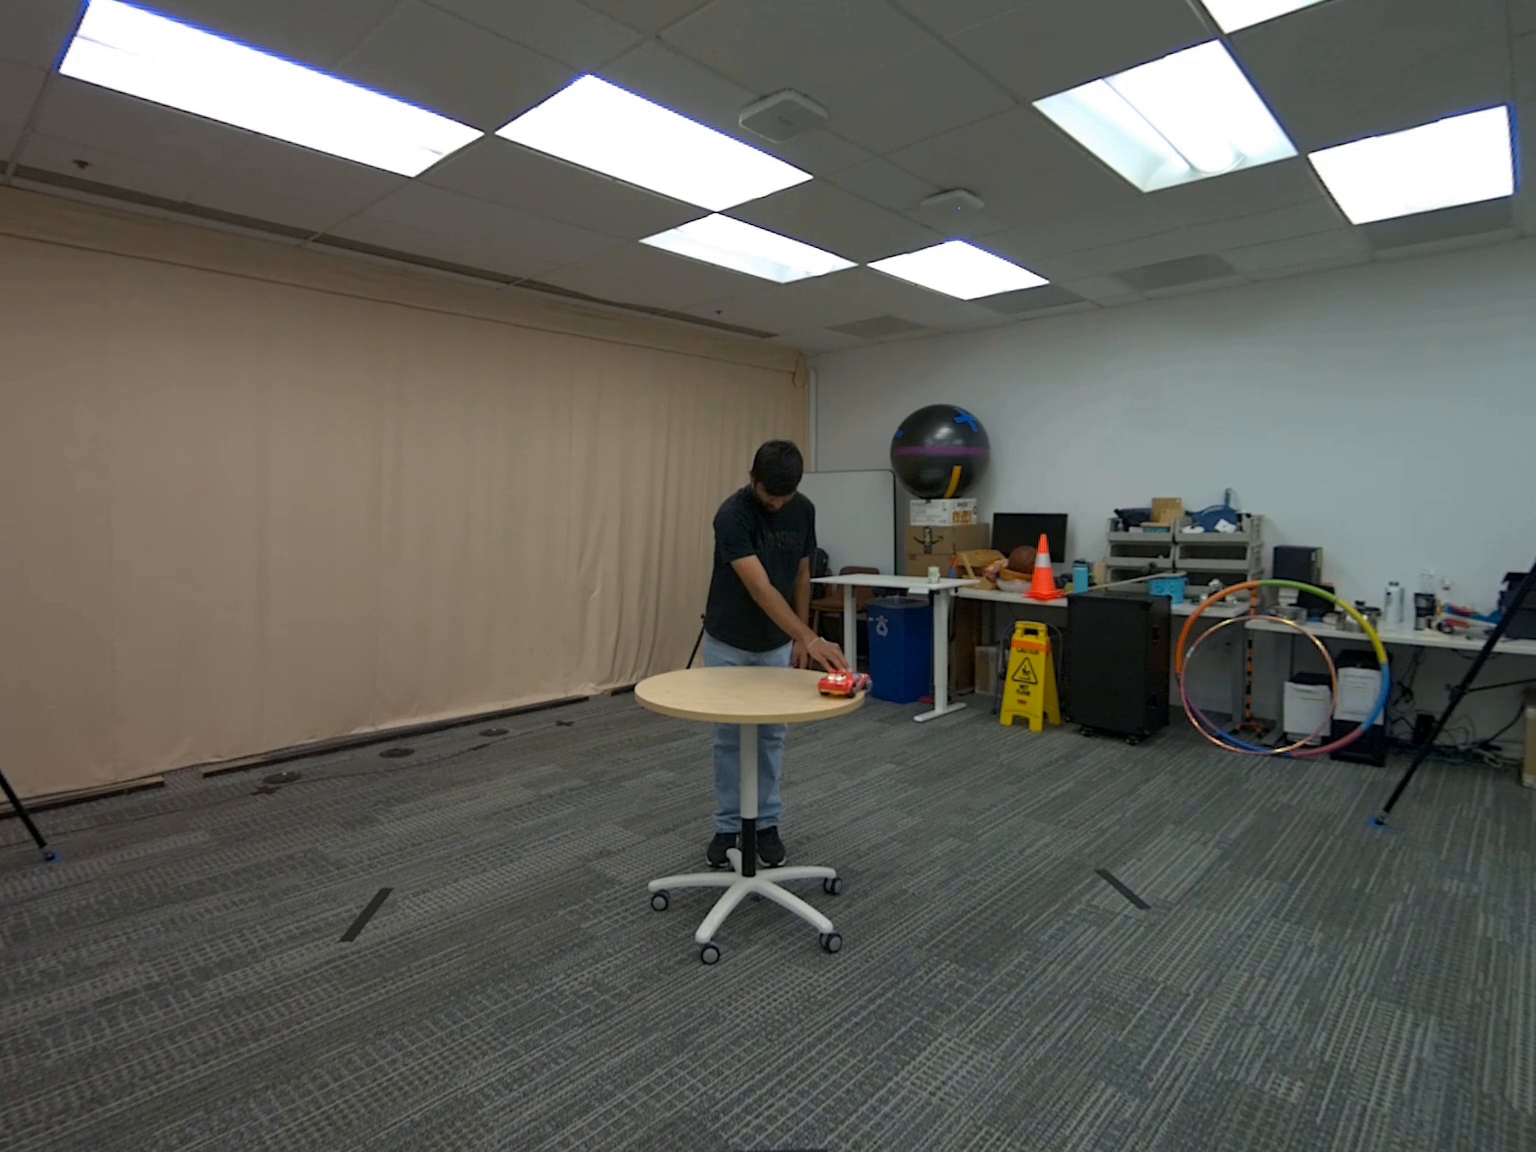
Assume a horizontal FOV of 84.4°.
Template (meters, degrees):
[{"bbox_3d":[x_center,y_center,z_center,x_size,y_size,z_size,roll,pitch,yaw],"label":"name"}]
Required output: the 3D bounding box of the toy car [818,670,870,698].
[{"bbox_3d":[0.240,0.348,2.738,0.134,0.083,0.247,2,-7,26],"label":"toy car"}]
